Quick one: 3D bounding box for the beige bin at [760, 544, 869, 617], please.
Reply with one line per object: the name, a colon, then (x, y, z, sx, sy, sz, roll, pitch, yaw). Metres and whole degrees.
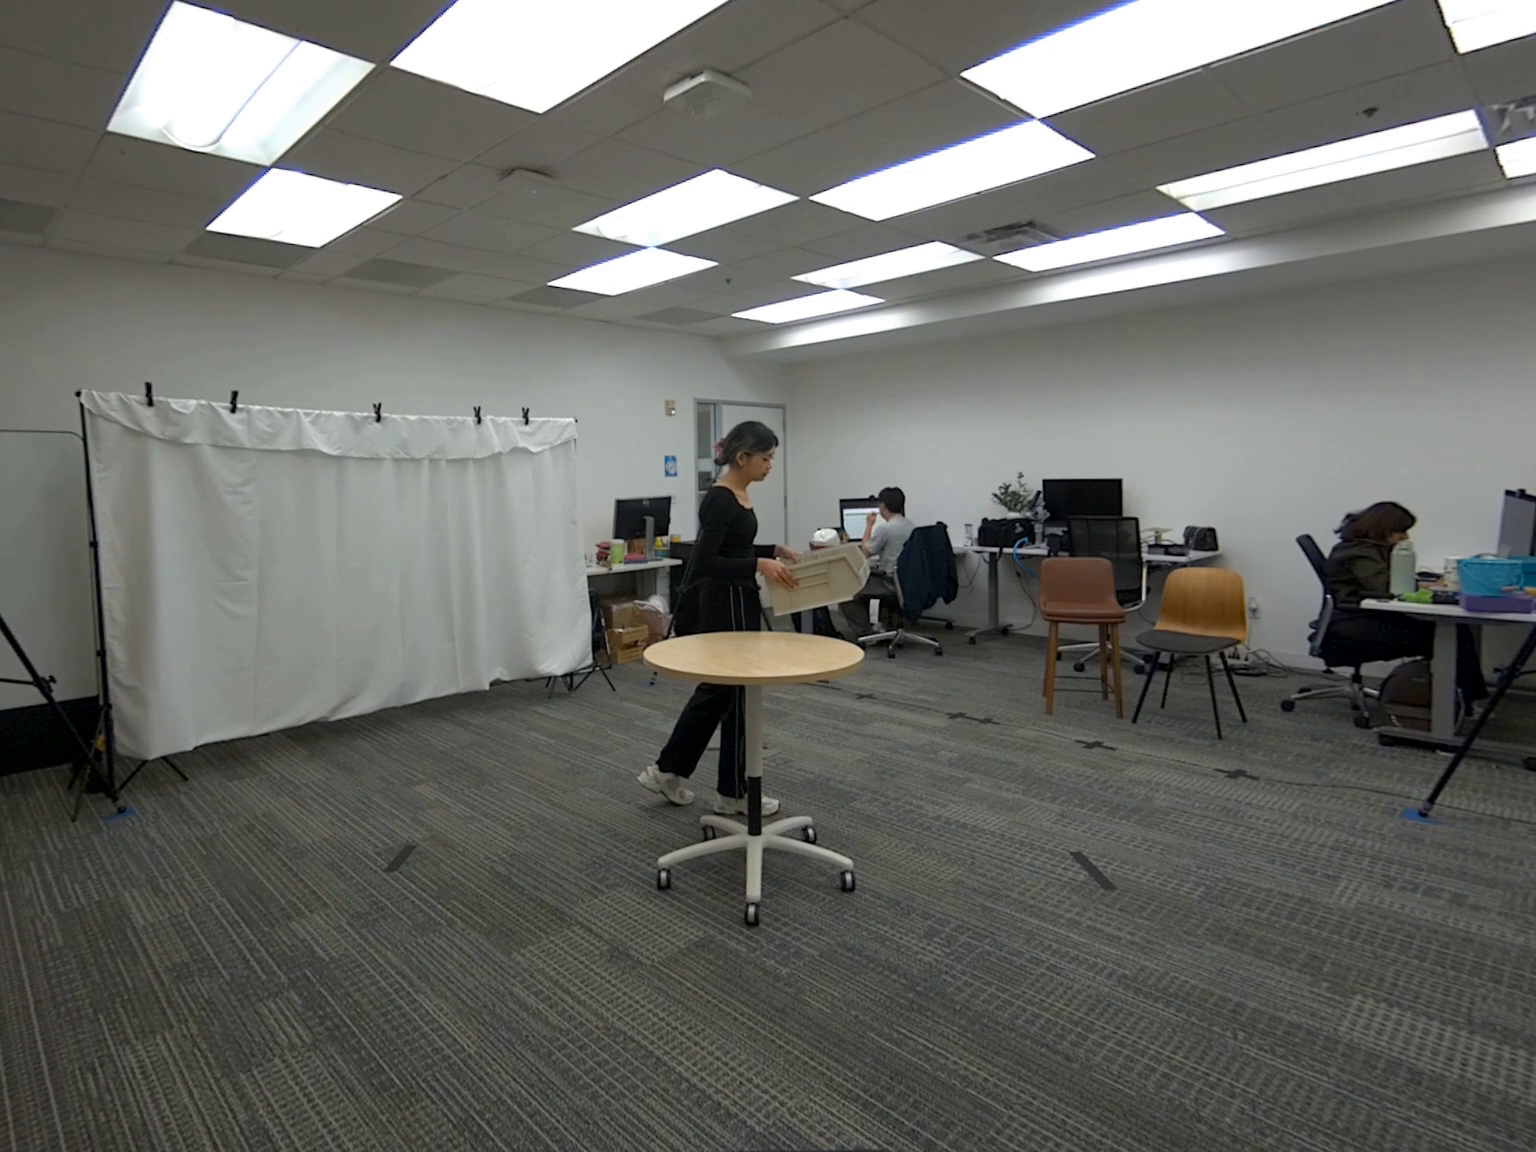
beige bin: (0.210, 0.010, 3.486, 0.381, 0.188, 0.419, -13, 5, 14)
